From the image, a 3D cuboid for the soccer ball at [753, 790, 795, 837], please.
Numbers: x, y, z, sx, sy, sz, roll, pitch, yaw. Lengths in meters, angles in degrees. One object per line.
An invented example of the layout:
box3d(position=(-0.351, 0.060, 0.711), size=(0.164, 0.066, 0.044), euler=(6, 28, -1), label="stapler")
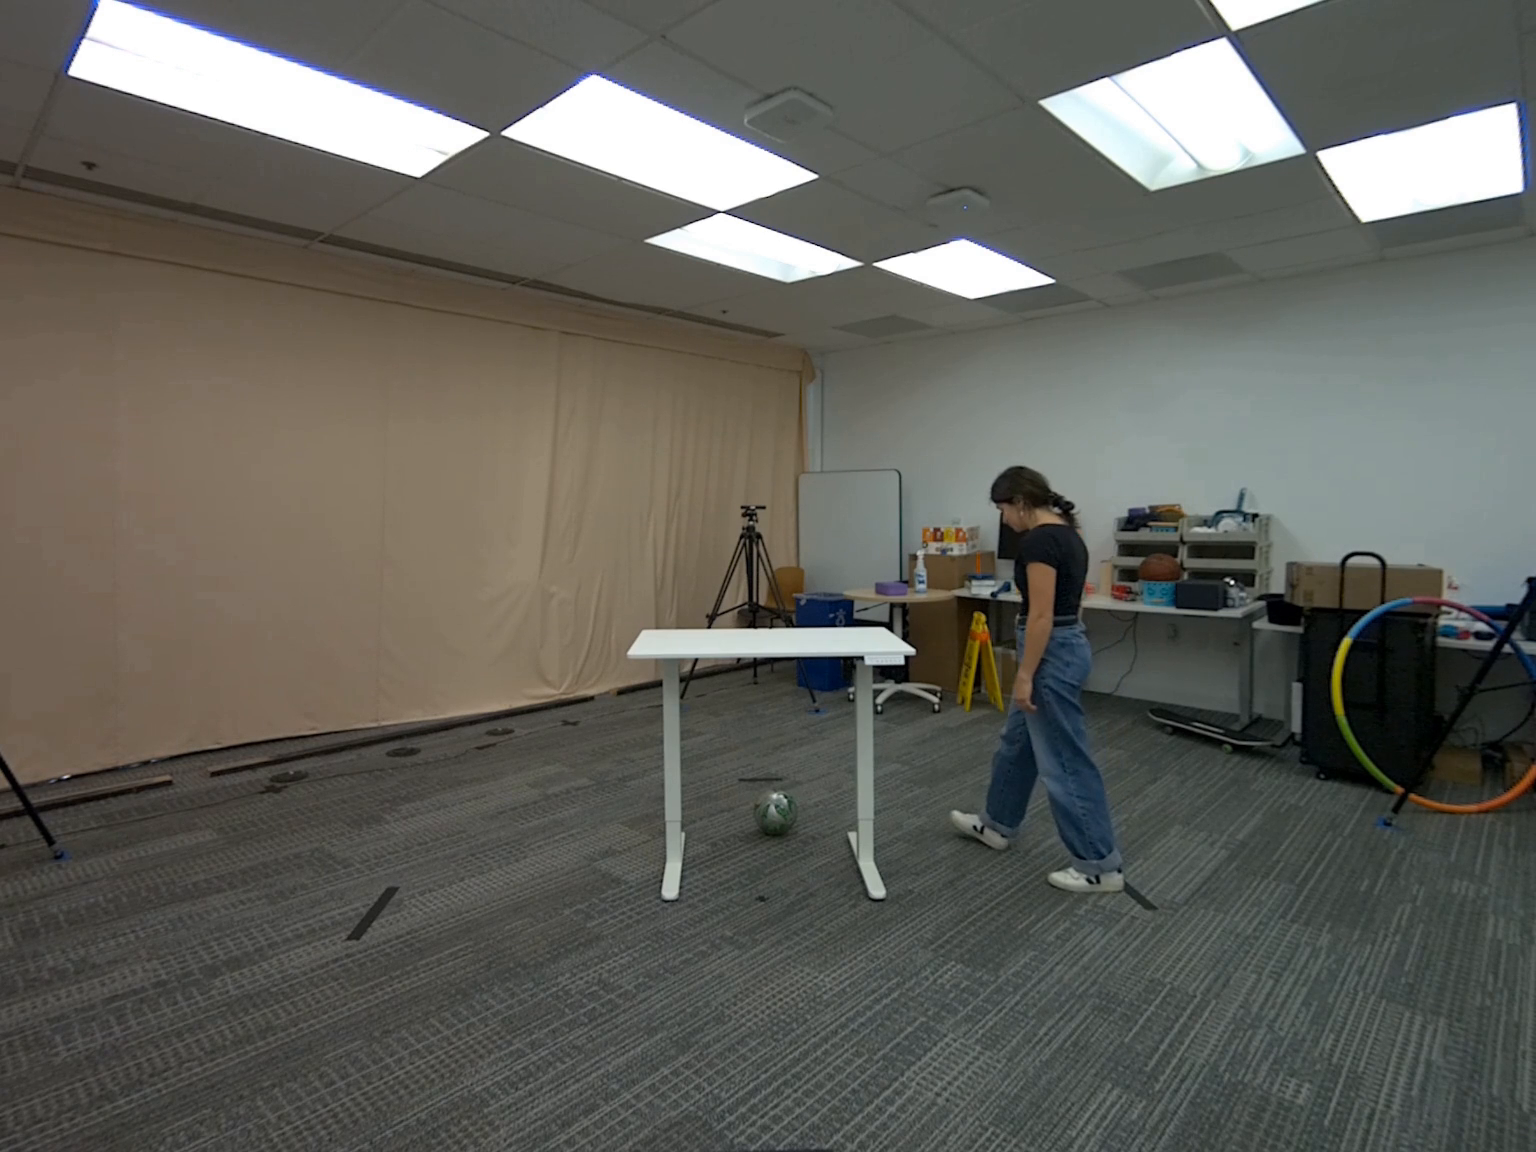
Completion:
box3d(position=(0.043, 1.008, 3.577), size=(0.187, 0.187, 0.188), euler=(0, 4, -2), label="soccer ball")
